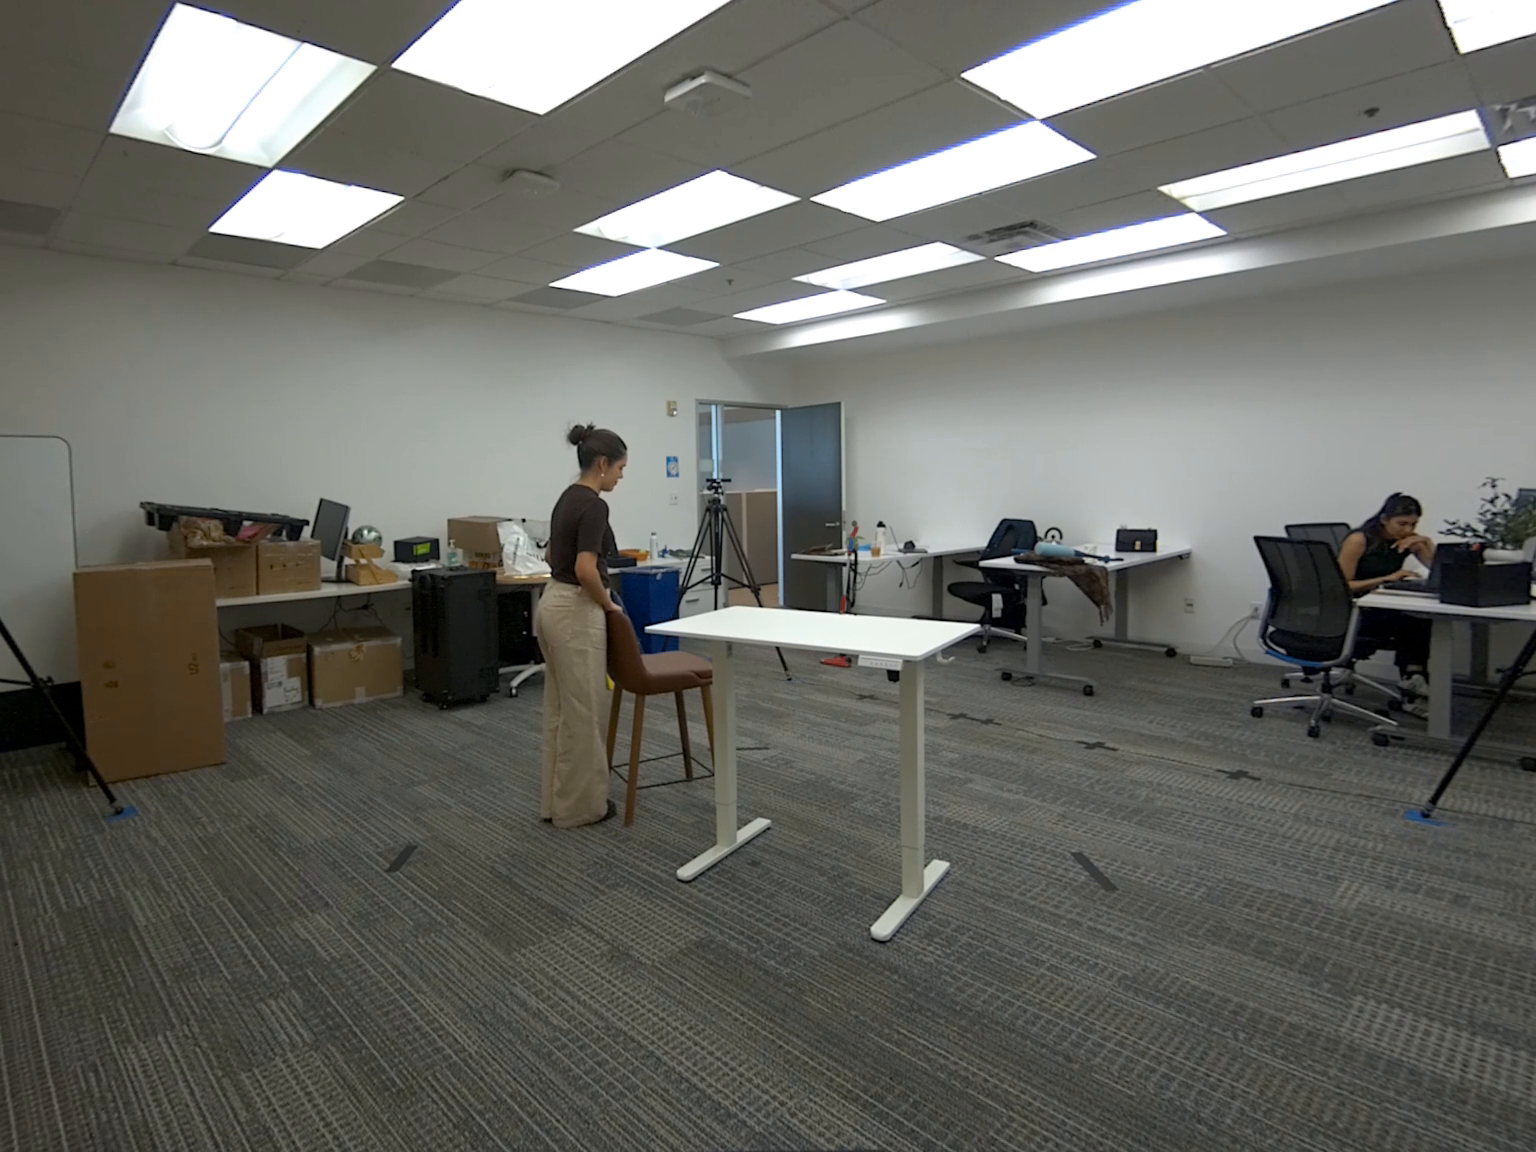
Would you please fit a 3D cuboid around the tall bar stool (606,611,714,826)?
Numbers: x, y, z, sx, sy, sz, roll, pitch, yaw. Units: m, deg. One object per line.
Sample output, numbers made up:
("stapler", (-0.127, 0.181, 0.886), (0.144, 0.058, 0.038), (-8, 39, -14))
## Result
("tall bar stool", (-0.477, 0.546, 3.688), (0.458, 0.886, 0.468), (-5, 5, -26))
